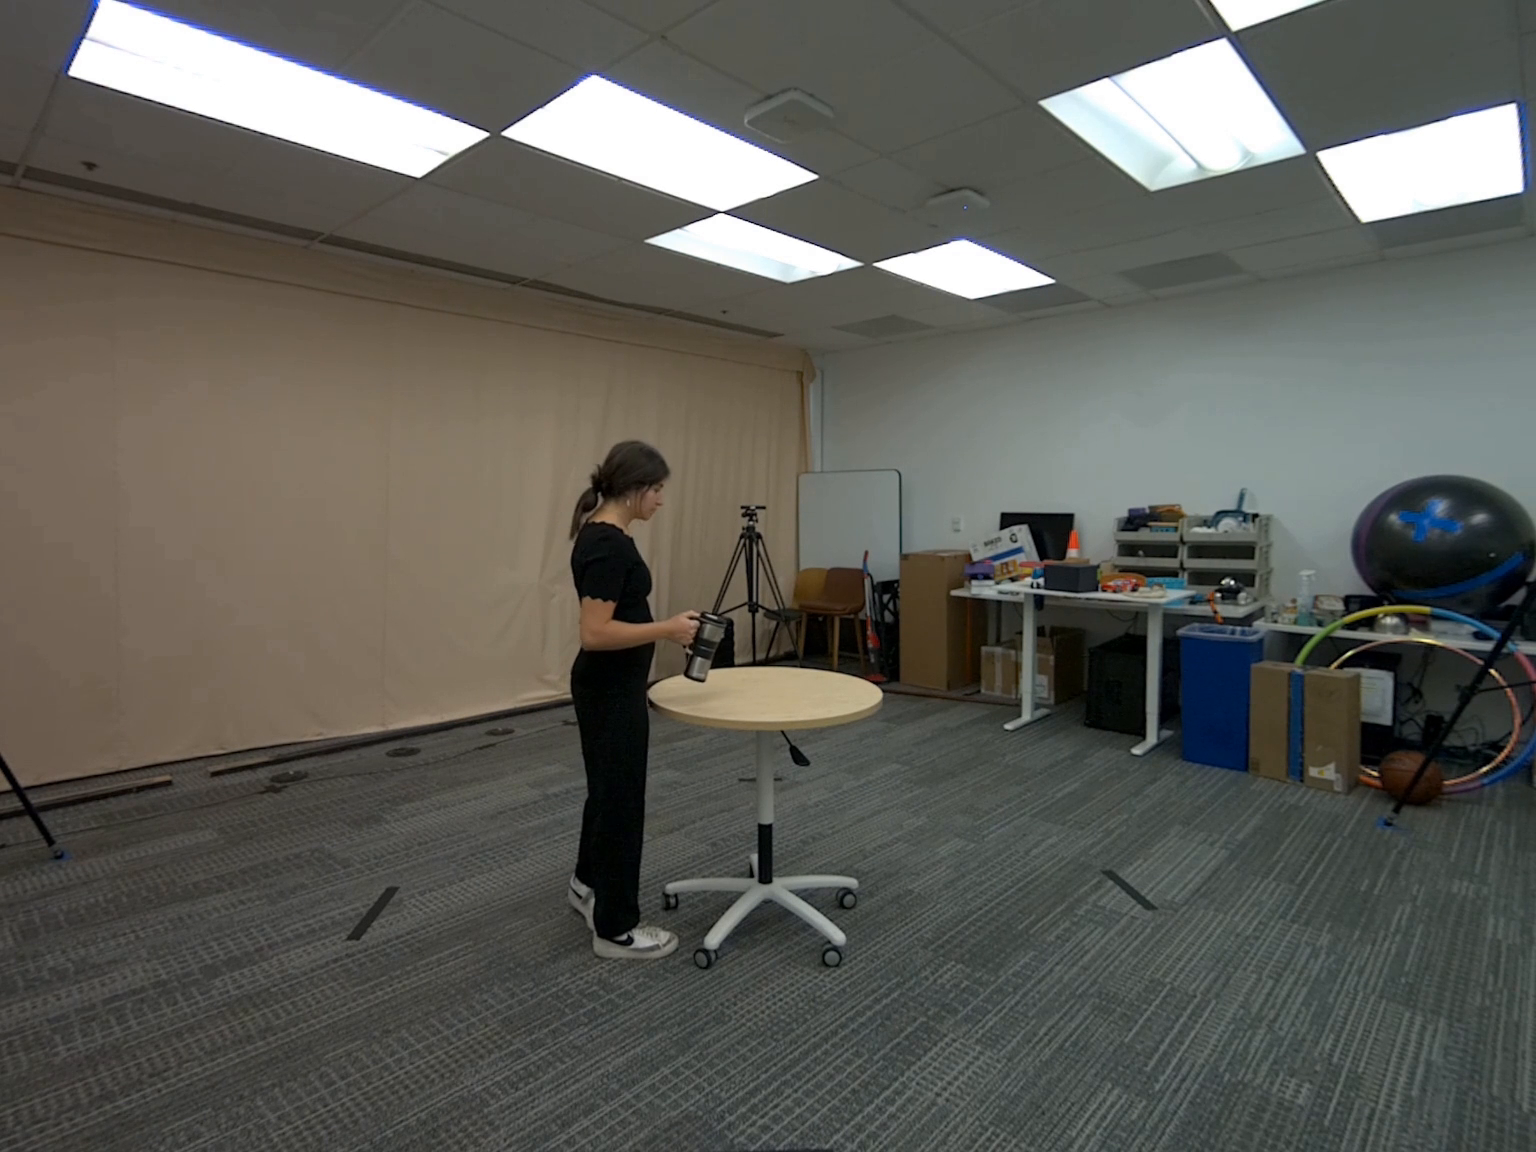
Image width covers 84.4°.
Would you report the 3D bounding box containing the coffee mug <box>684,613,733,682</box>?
[{"bbox_3d":[-0.199,0.222,2.543,0.088,0.203,0.121,20,-3,4],"label":"coffee mug"}]
